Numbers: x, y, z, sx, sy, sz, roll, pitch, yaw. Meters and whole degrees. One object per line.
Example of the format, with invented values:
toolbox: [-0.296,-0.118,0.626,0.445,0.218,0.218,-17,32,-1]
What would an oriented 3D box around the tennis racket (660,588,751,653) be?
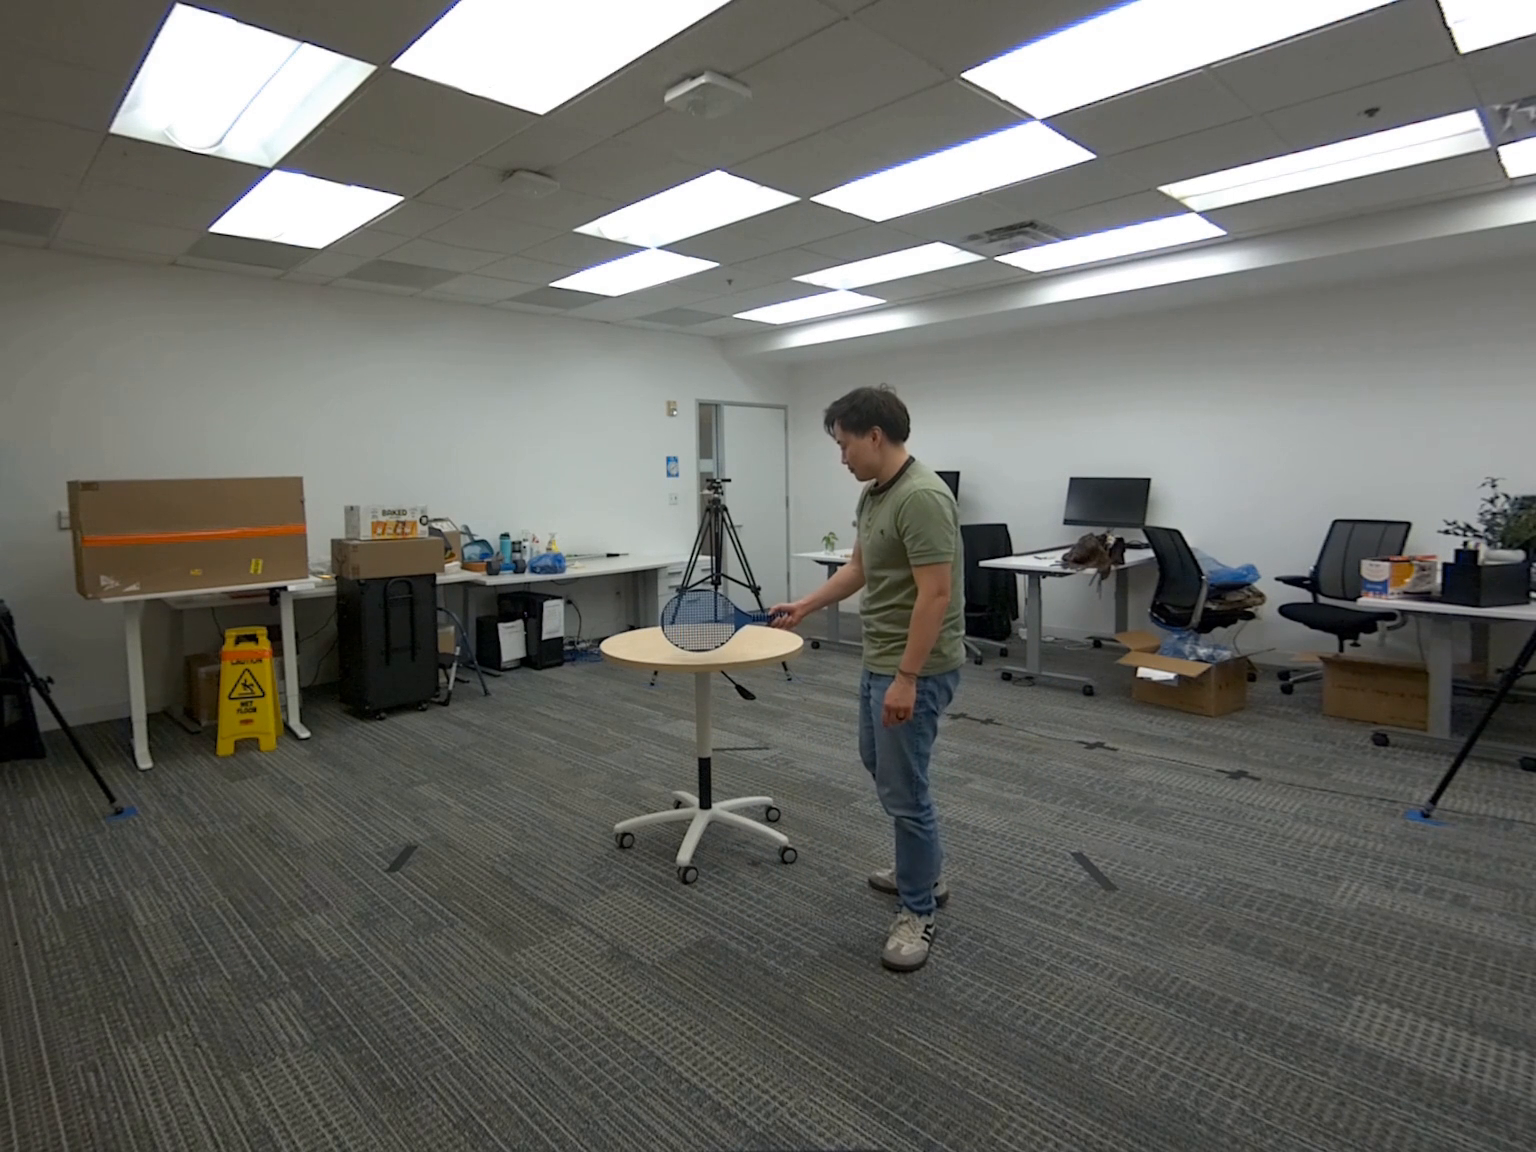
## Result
tennis racket: [-0.131,0.156,2.845,0.437,0.216,0.031,-6,-10,11]
